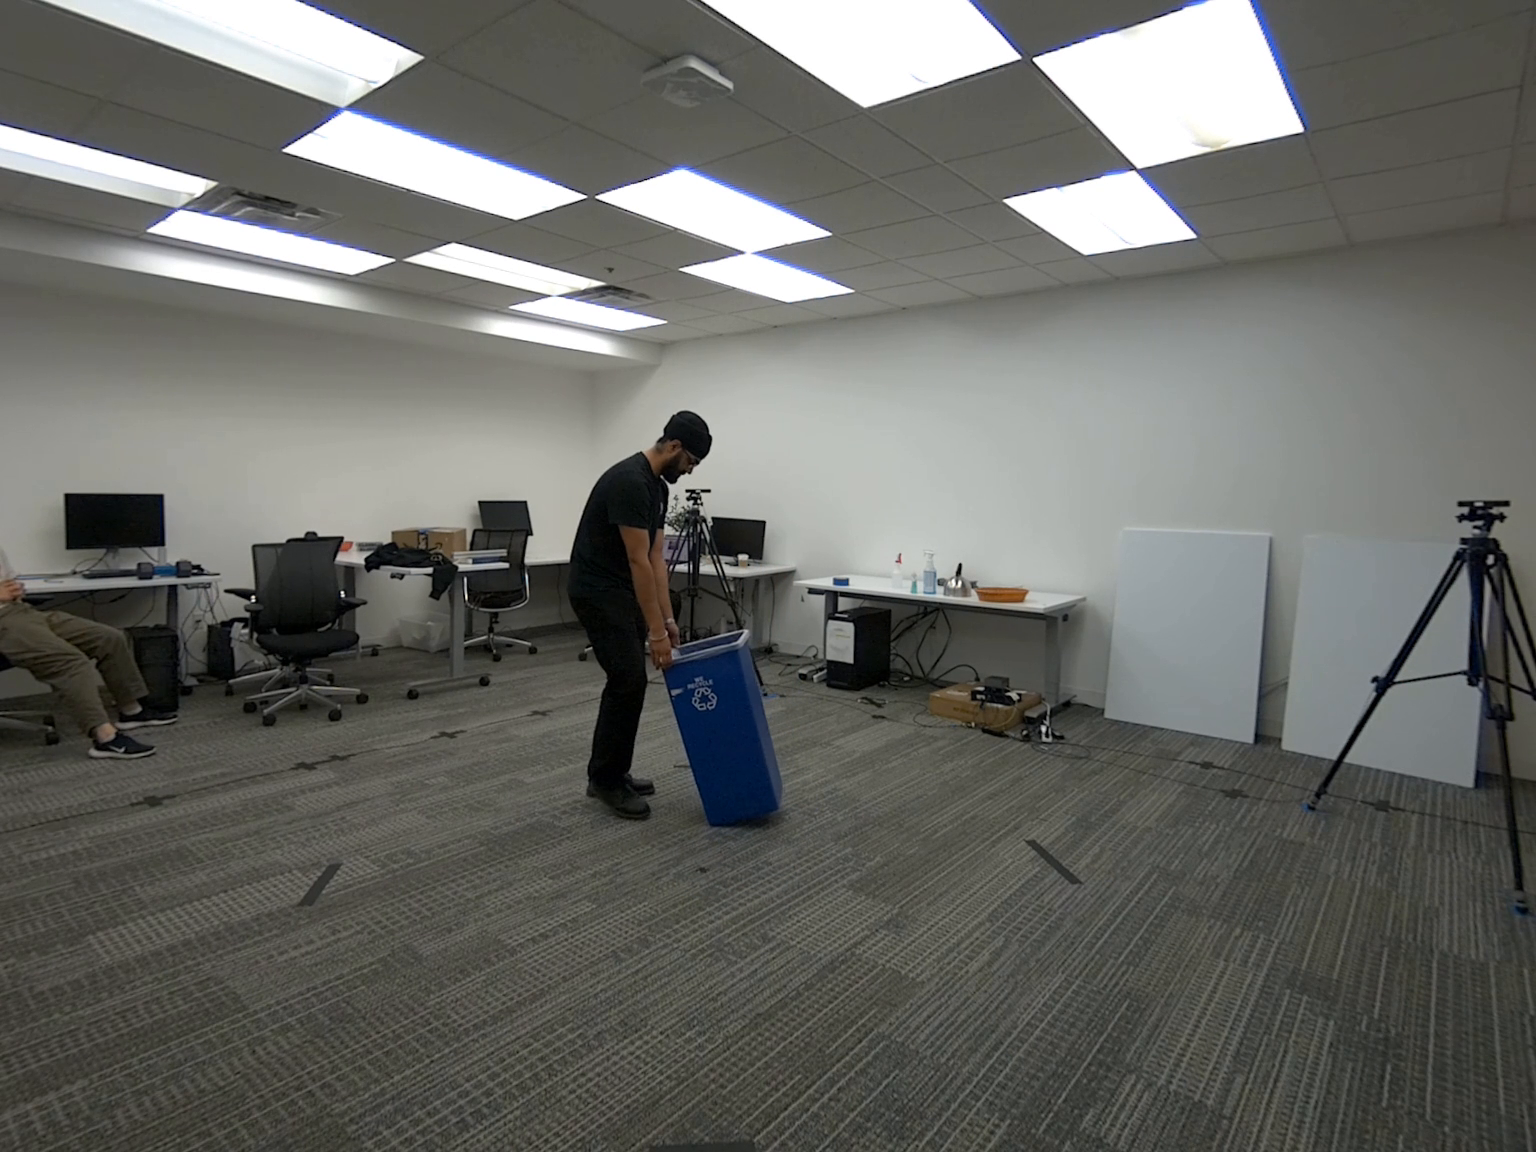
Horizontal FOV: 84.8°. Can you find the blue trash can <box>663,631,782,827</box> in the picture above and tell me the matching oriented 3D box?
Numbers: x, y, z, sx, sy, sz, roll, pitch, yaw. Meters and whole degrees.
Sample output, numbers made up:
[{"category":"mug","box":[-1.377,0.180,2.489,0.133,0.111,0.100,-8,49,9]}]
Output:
[{"category":"blue trash can","box":[-0.202,0.644,3.633,0.376,0.714,0.376,-14,0,5]}]
